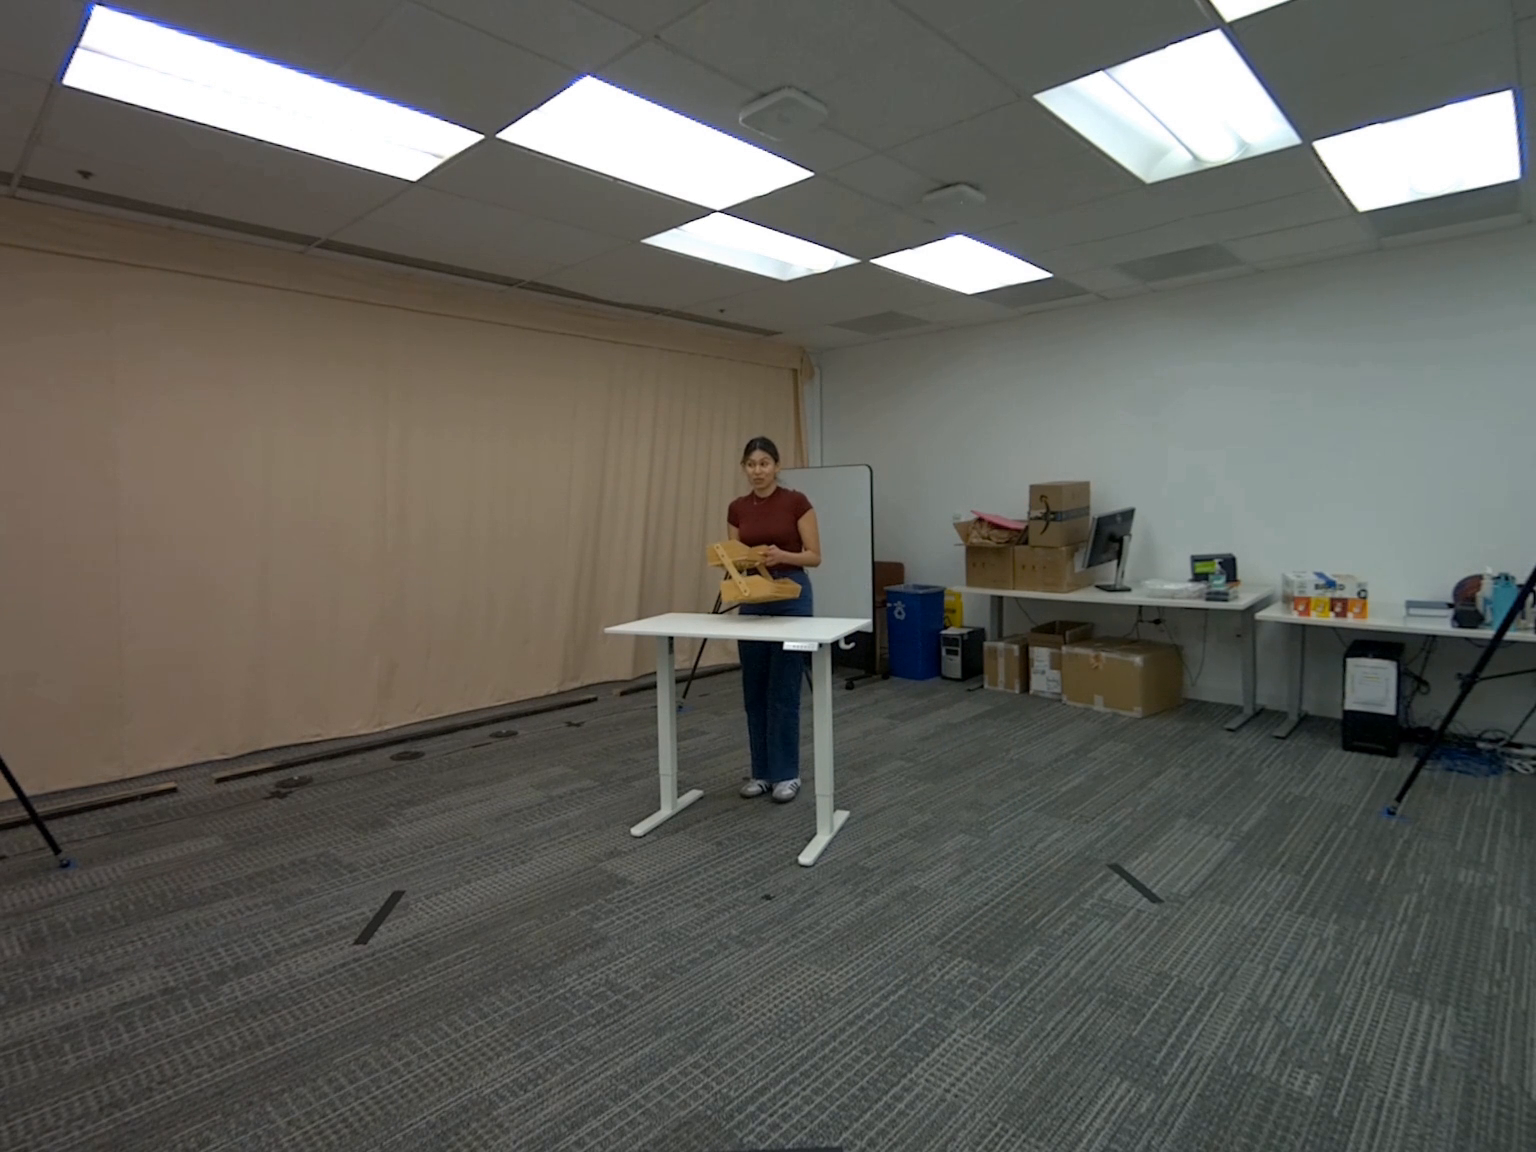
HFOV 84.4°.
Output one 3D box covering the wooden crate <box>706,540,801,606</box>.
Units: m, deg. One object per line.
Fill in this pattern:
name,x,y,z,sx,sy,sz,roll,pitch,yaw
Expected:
wooden crate,-0.059,-0.026,3.773,0.309,0.275,0.315,-10,-9,27
